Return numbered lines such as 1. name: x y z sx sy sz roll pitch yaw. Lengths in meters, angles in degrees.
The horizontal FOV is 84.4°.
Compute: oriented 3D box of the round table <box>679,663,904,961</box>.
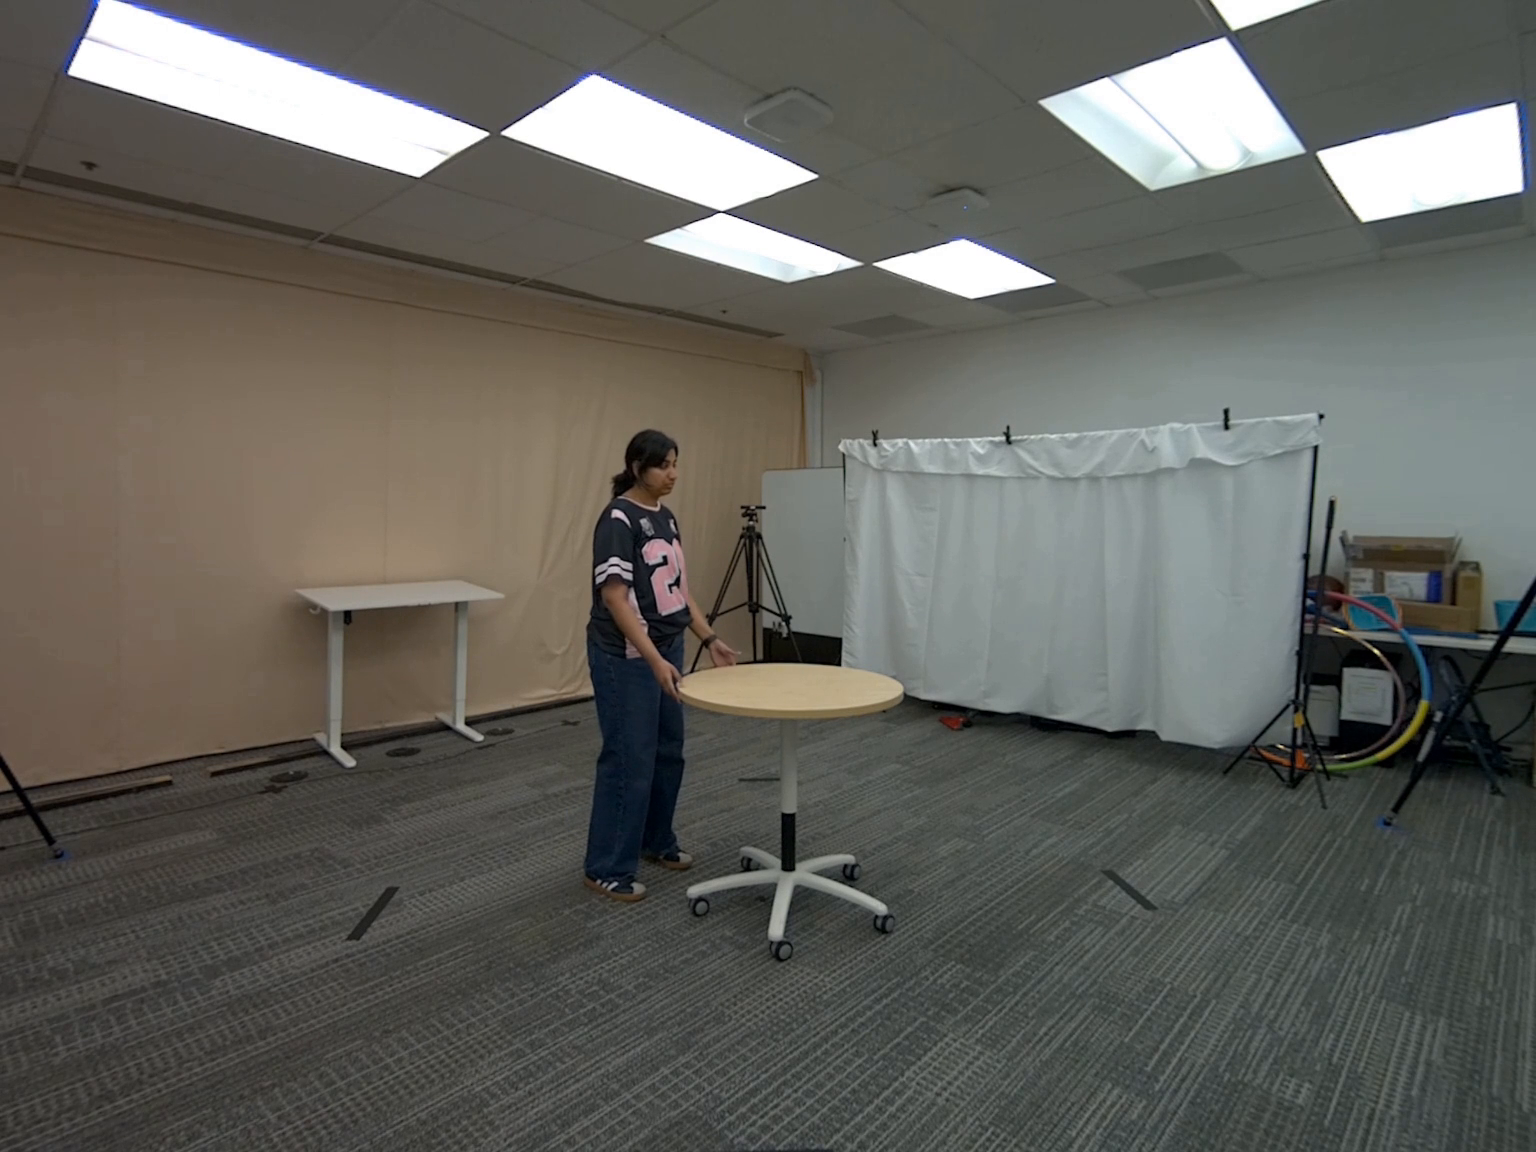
1. round table: 0.076 0.763 2.882 0.763 0.792 0.767 0 4 -2
